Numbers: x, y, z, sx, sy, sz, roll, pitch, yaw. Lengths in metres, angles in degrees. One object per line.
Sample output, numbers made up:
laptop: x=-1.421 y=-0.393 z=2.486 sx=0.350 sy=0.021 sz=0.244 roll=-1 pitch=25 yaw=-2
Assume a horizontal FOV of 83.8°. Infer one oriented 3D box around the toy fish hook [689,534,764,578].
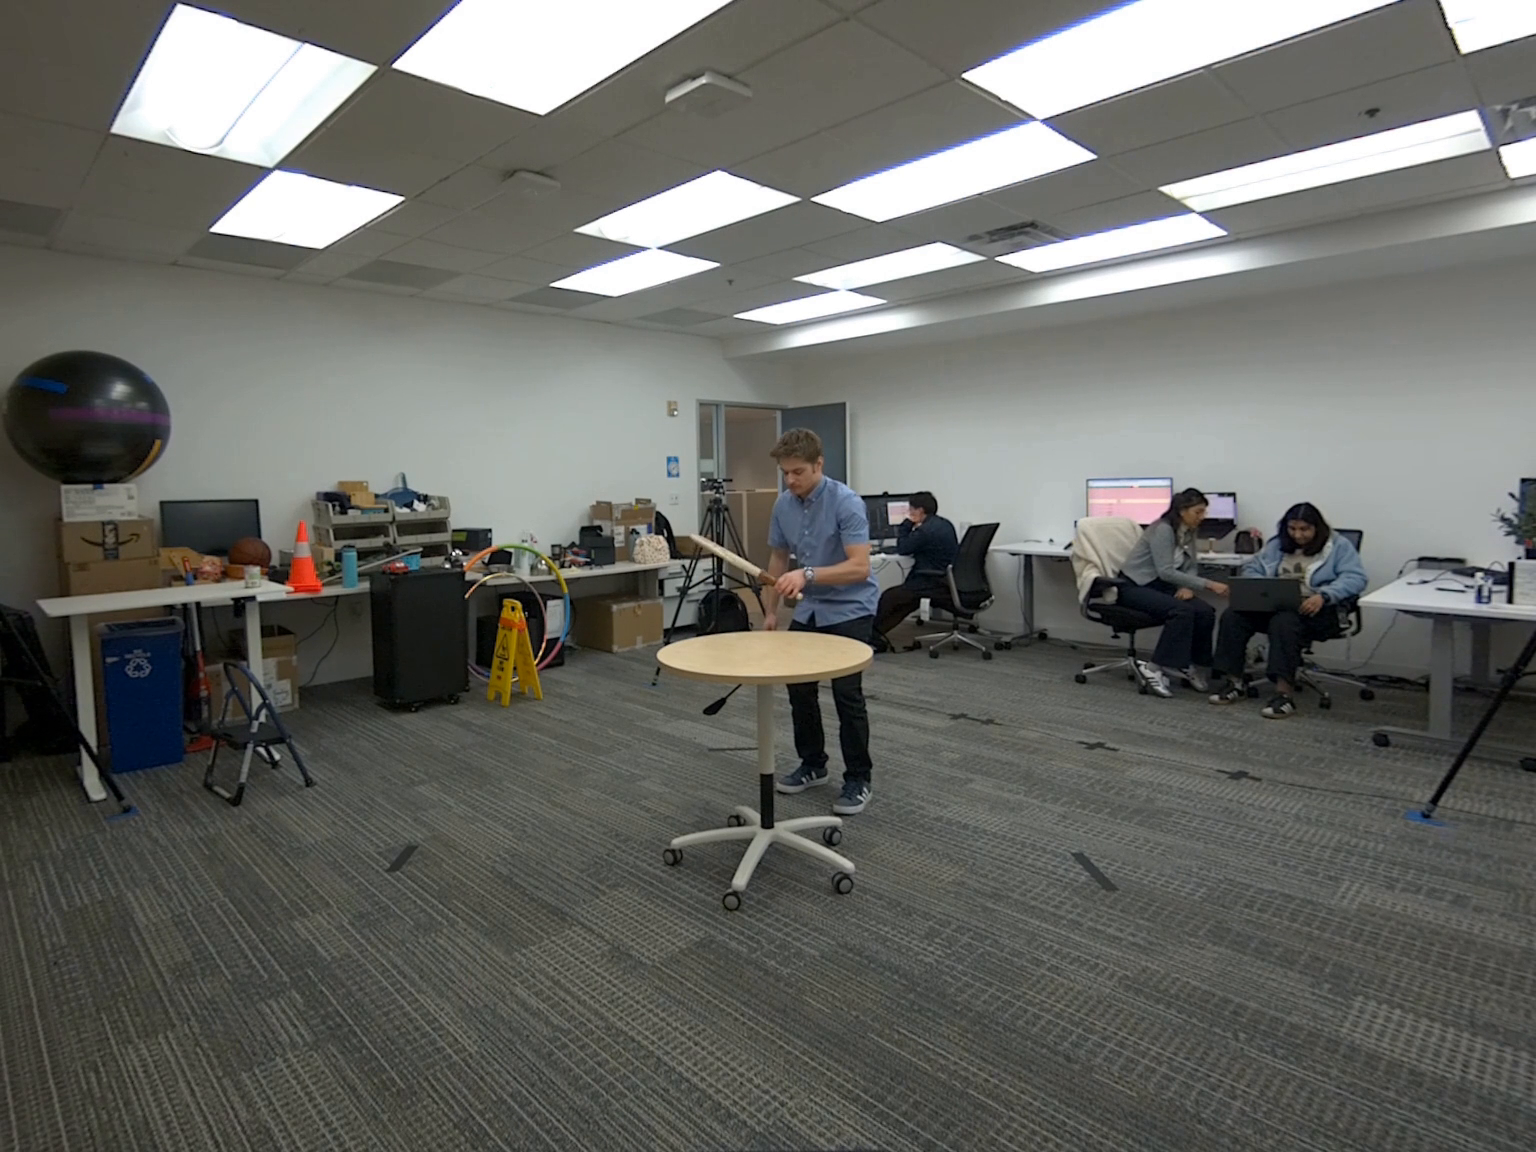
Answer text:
toy fish hook: x=-0.072 y=-0.016 z=3.375 sx=0.509 sy=0.048 sz=0.224 roll=30 pitch=7 yaw=3
